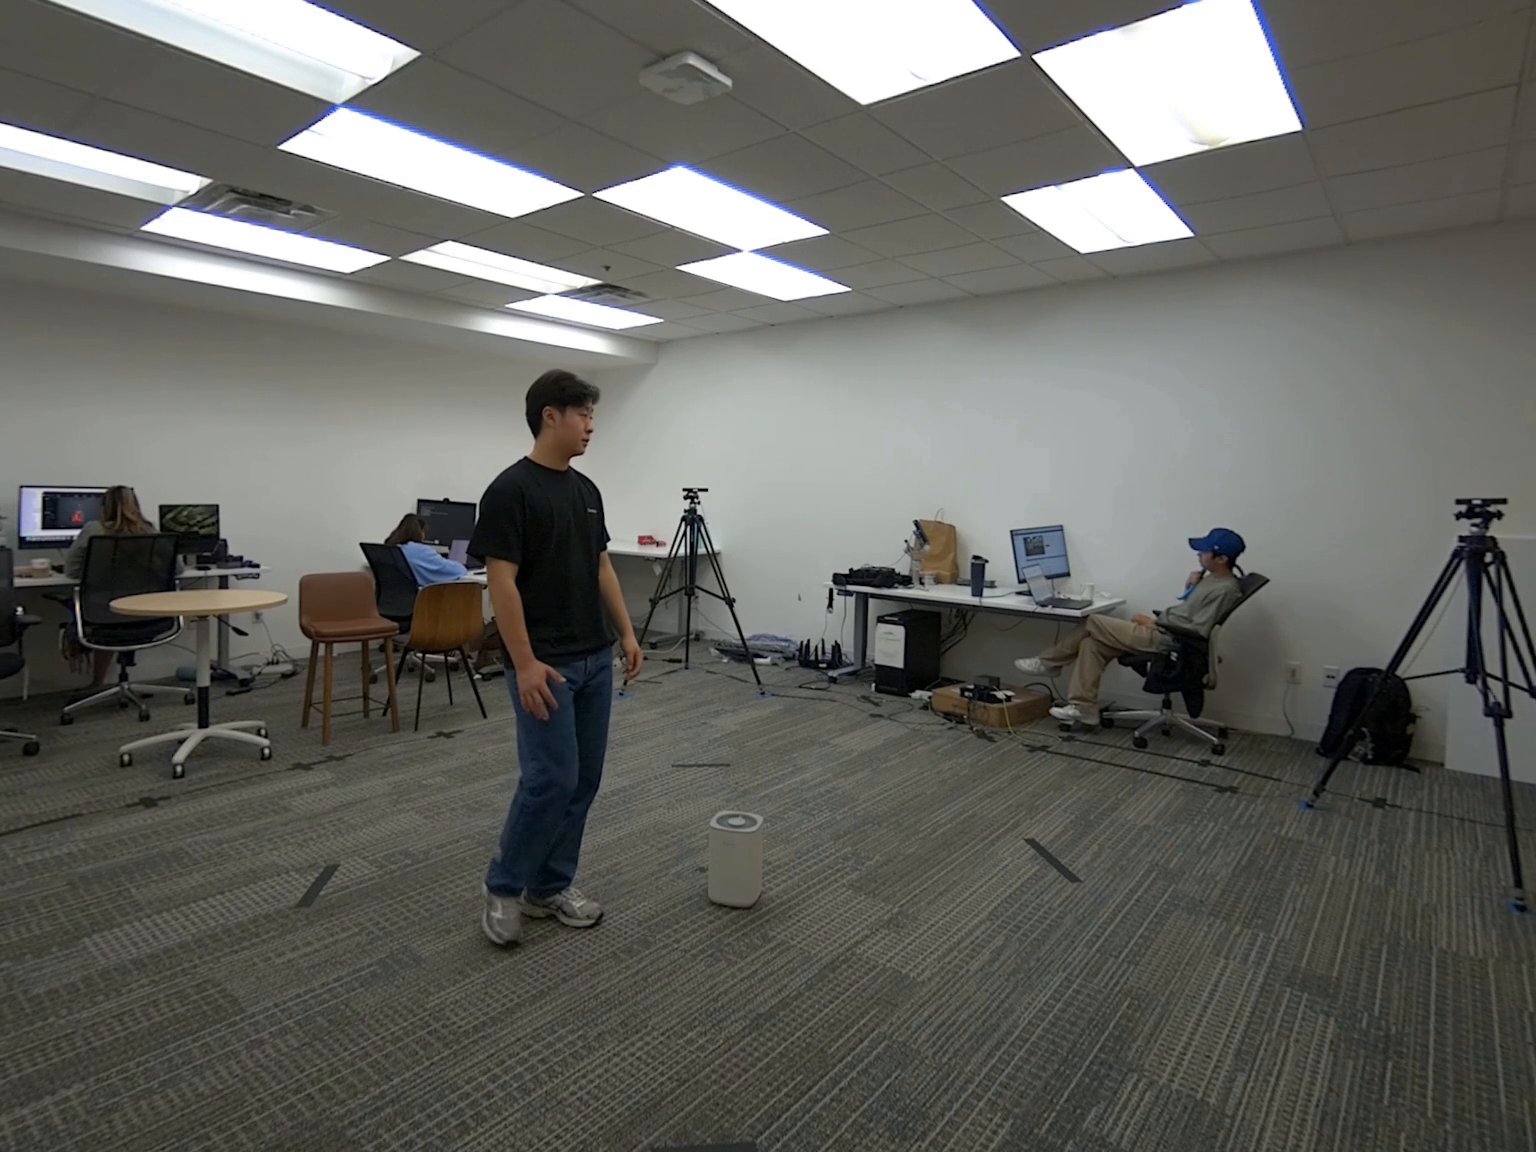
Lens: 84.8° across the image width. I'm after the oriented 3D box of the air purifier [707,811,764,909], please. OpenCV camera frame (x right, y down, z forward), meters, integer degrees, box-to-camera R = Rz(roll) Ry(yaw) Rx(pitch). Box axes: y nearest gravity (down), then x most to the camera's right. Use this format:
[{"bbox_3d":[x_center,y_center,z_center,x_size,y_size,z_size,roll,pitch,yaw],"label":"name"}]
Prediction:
[{"bbox_3d":[-0.116,0.956,2.889,0.174,0.264,0.169,2,4,13],"label":"air purifier"}]
